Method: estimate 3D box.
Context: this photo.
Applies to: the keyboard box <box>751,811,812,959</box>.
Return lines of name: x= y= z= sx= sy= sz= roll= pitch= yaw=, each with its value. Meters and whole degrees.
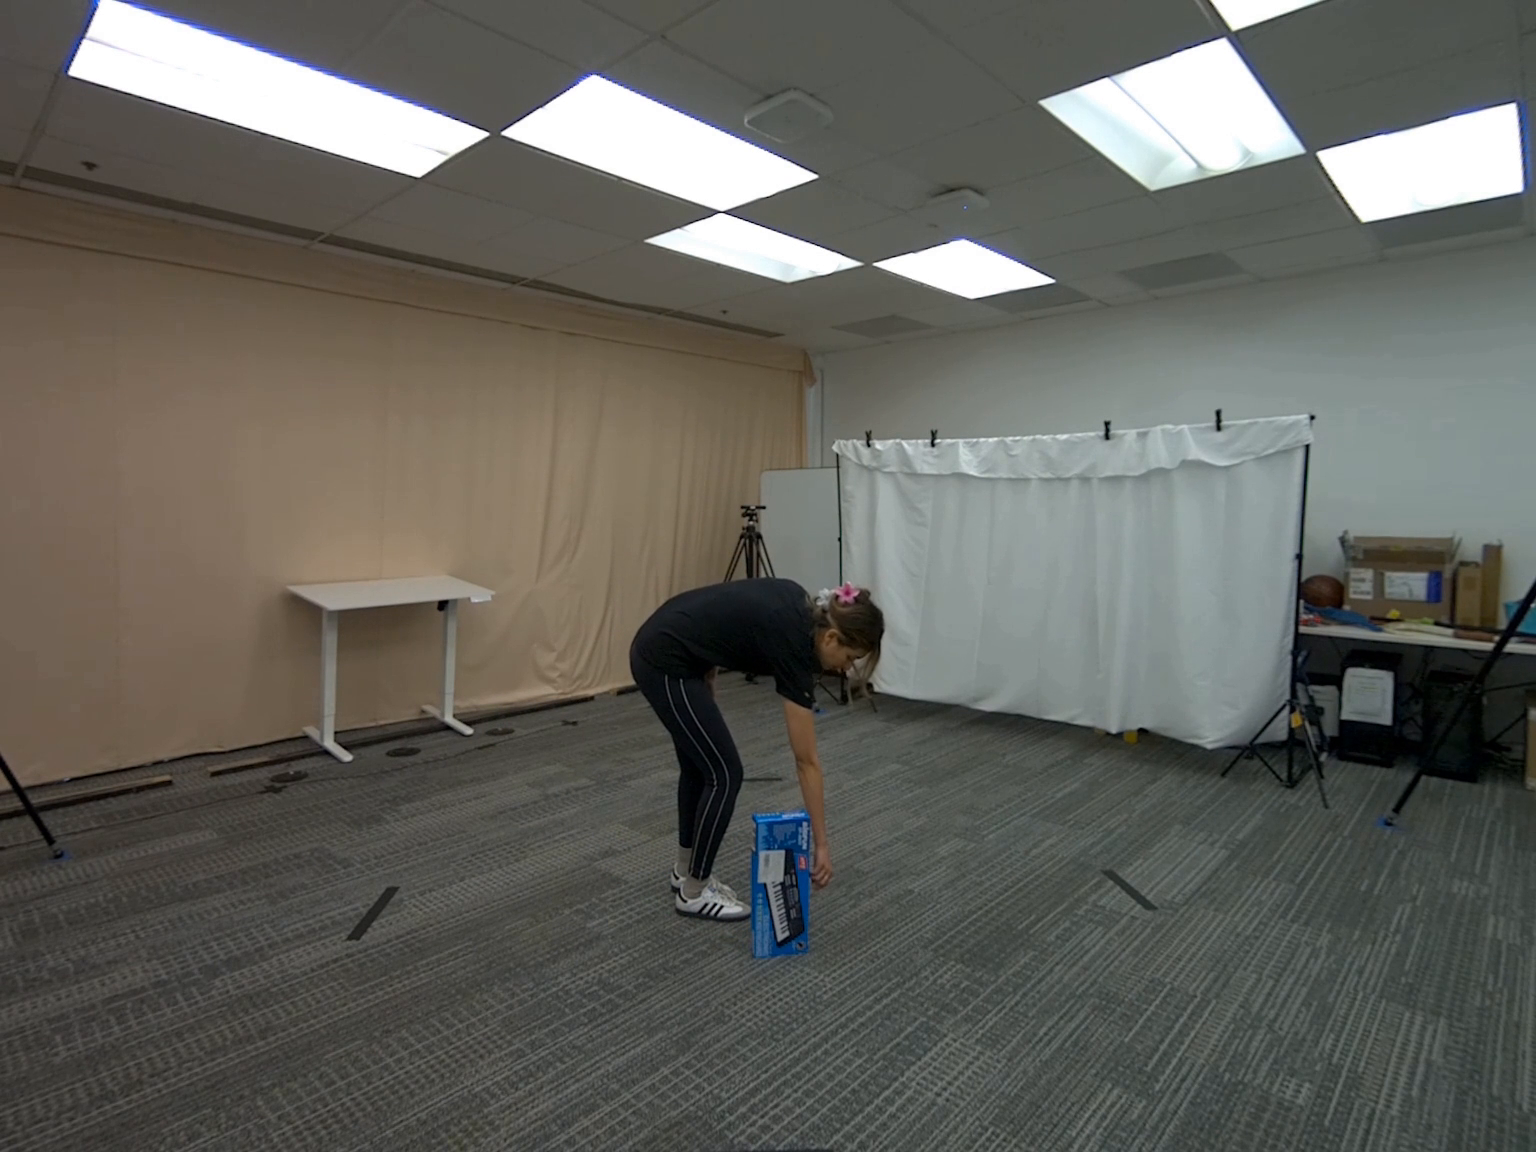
keyboard box: x=0.039 y=0.958 z=2.610 sx=0.174 sy=0.435 sz=0.060 roll=0 pitch=7 yaw=-12
